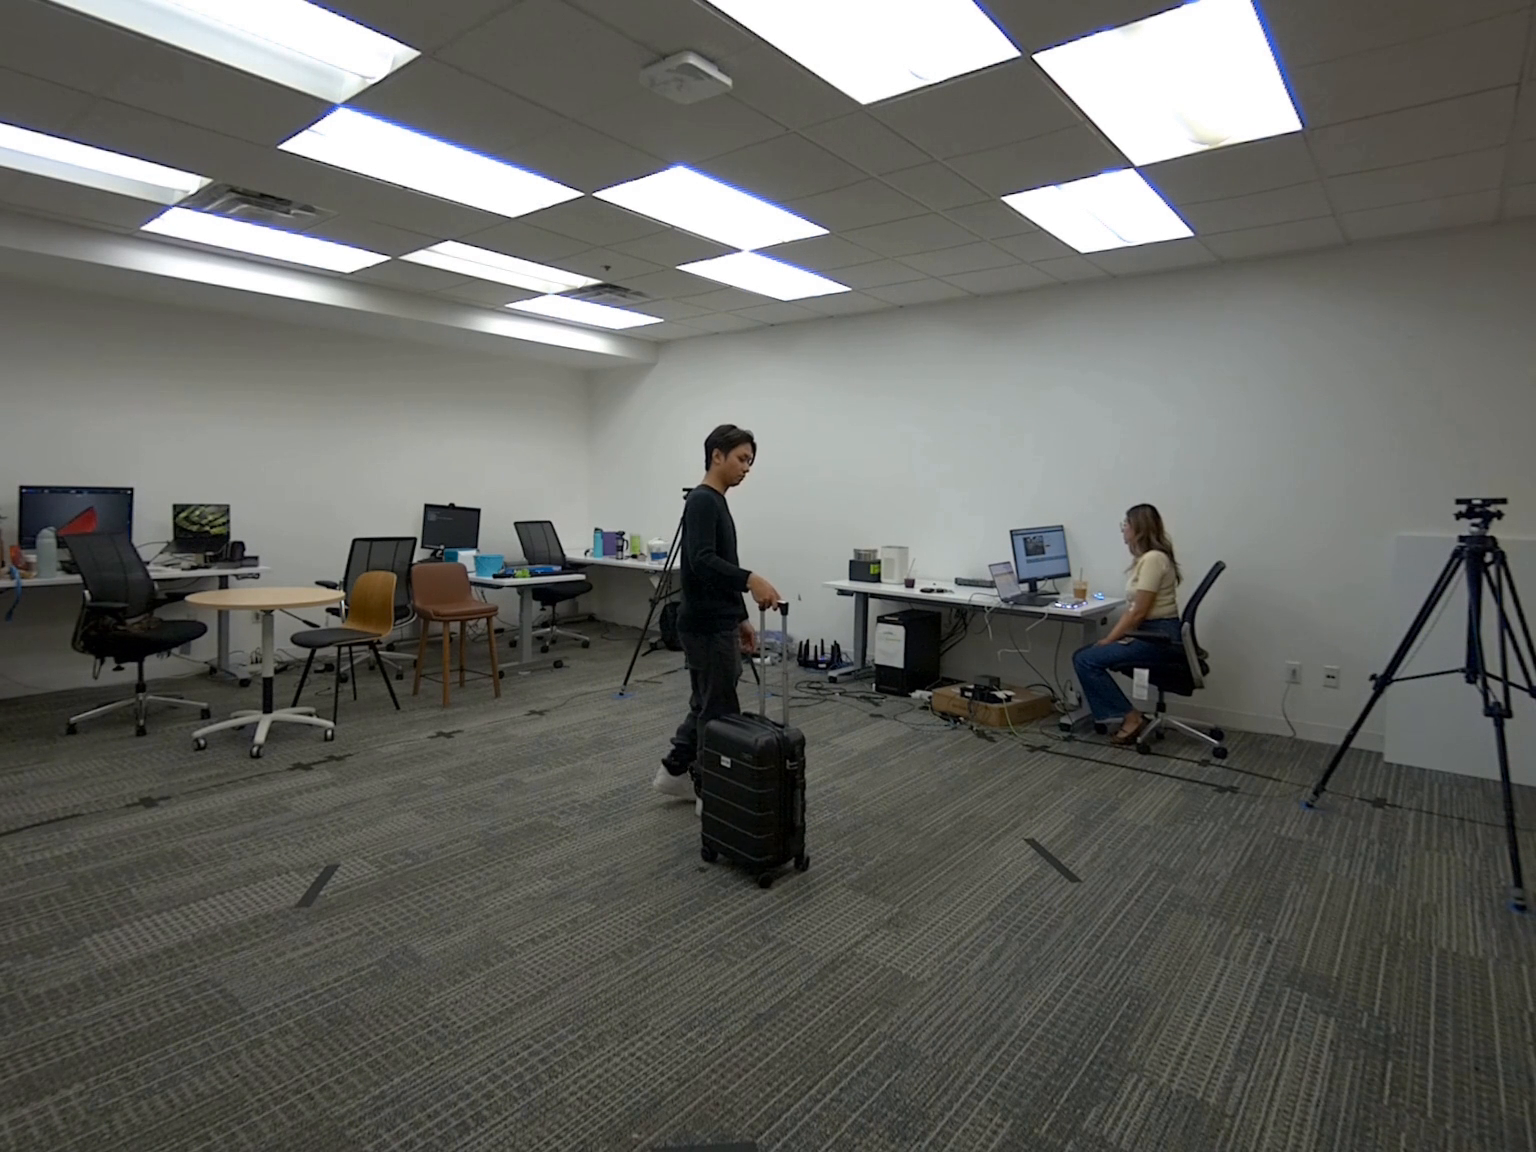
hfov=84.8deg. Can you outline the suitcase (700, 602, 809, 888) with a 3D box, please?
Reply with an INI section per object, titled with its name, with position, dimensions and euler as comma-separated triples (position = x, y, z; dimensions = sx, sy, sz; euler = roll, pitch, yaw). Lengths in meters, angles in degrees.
[suitcase]
position = -0.063, 0.598, 3.122
dimensions = 0.249, 0.975, 0.397
euler = -5, 6, -44
